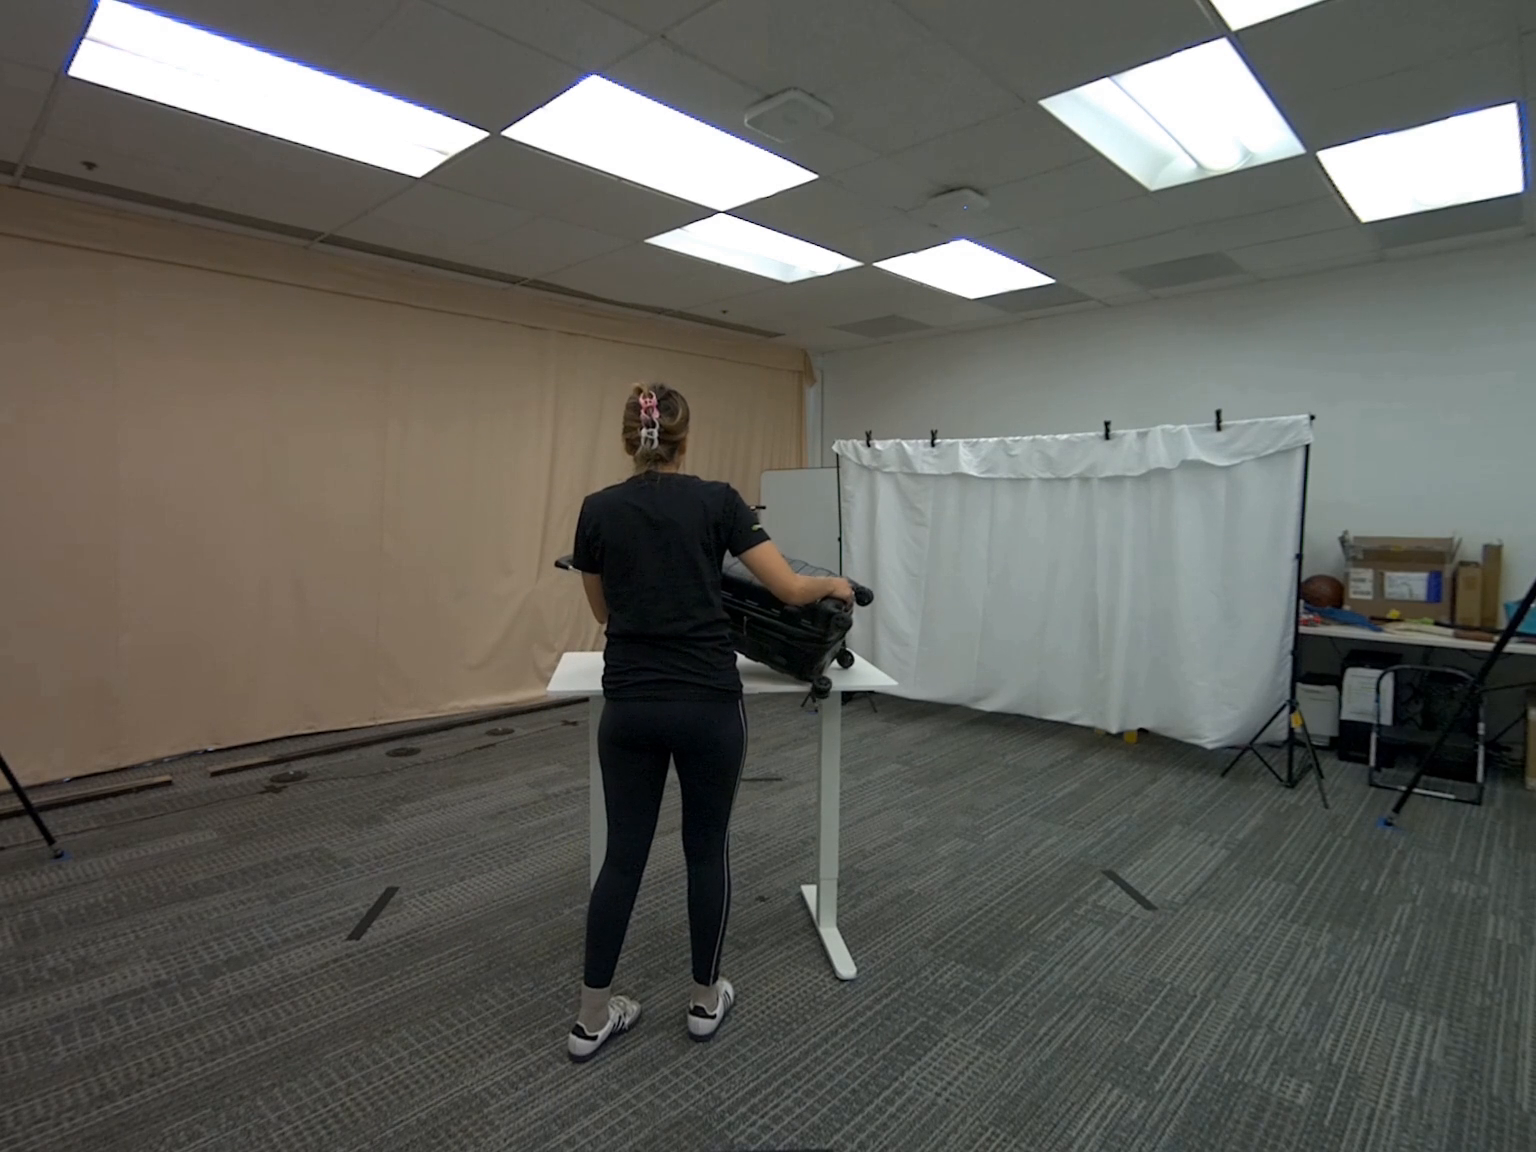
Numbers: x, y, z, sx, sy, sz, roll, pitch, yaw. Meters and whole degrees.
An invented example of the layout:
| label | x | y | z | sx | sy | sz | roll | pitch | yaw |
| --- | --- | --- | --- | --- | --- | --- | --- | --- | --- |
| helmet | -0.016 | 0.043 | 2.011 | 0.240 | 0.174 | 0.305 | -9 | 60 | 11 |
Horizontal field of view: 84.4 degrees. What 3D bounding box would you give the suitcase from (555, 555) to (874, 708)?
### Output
| label | x | y | z | sx | sy | sz | roll | pitch | yaw |
| --- | --- | --- | --- | --- | --- | --- | --- | --- | --- |
| suitcase | -0.176 | 0.016 | 2.621 | 0.999 | 0.255 | 0.378 | 22 | 20 | 17 |
